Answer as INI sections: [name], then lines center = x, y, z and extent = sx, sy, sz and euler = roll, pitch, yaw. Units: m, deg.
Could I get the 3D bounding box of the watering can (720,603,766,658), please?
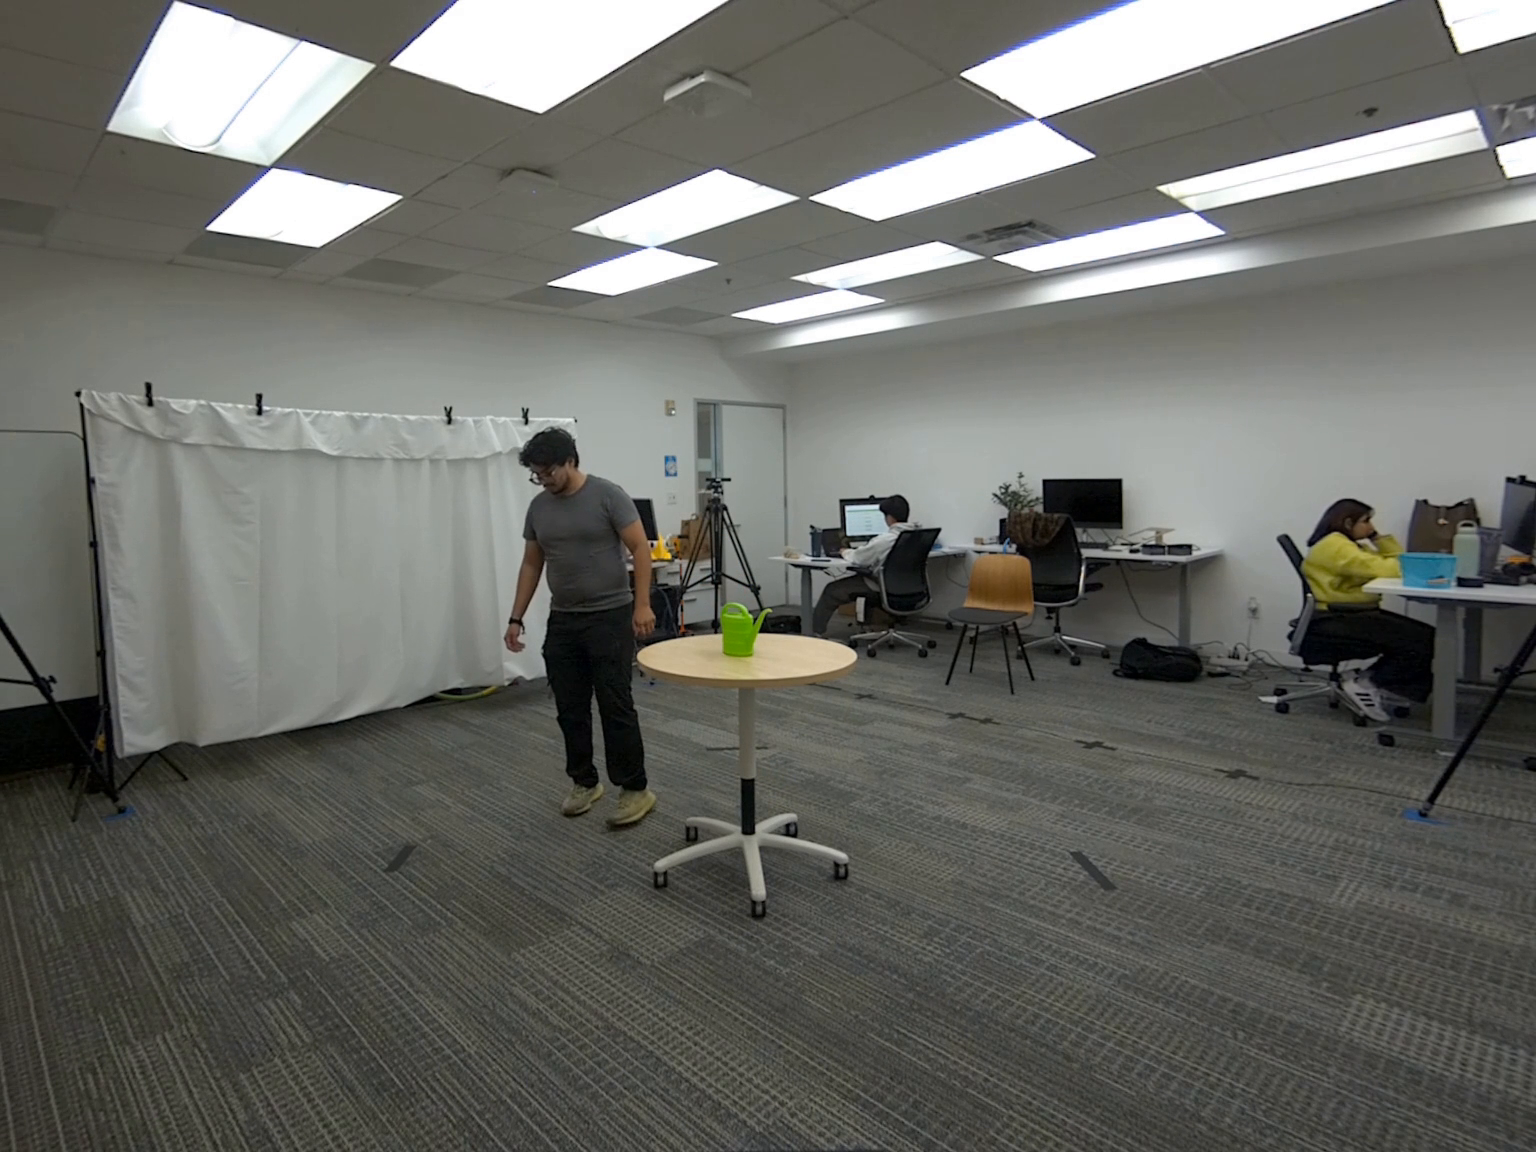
[watering can]
center = -0.084, 0.189, 2.949
extent = 0.096, 0.176, 0.284
euler = -3, 5, -22
